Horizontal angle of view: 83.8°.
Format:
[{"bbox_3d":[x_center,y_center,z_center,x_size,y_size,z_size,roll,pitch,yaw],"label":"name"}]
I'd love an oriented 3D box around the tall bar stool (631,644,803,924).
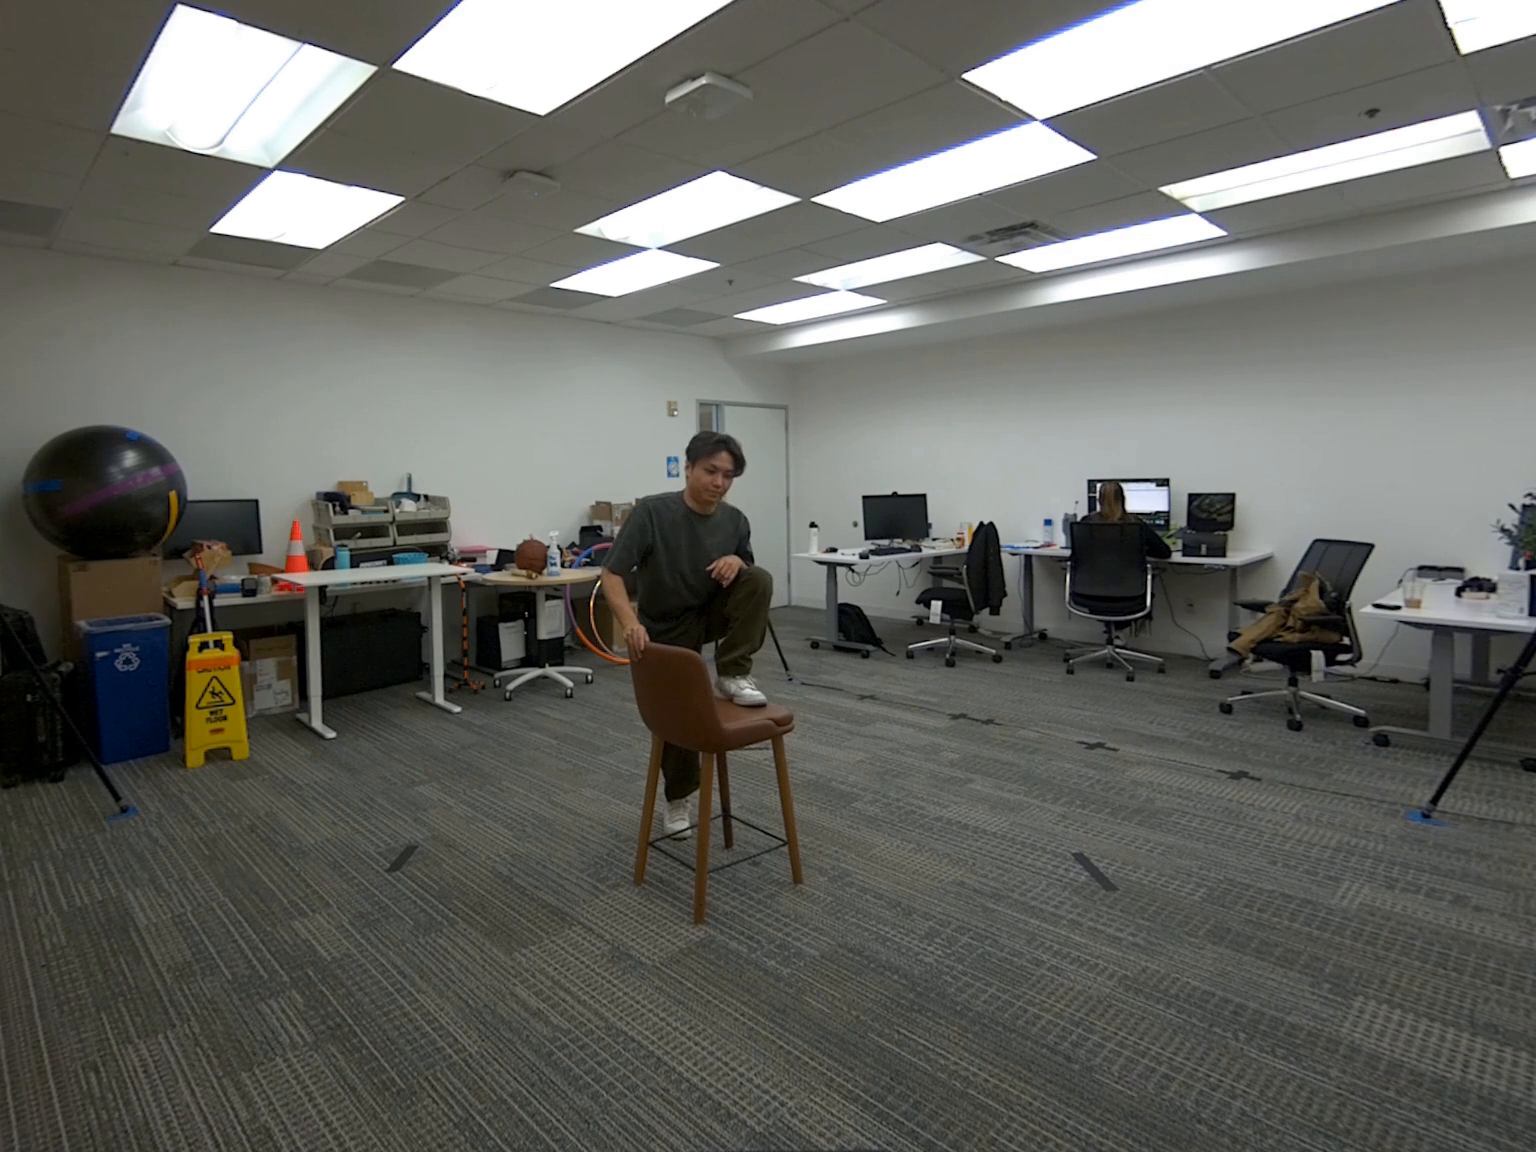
[{"bbox_3d":[-0.187,0.631,2.933,0.456,0.885,0.471,-7,8,-40],"label":"tall bar stool"}]
